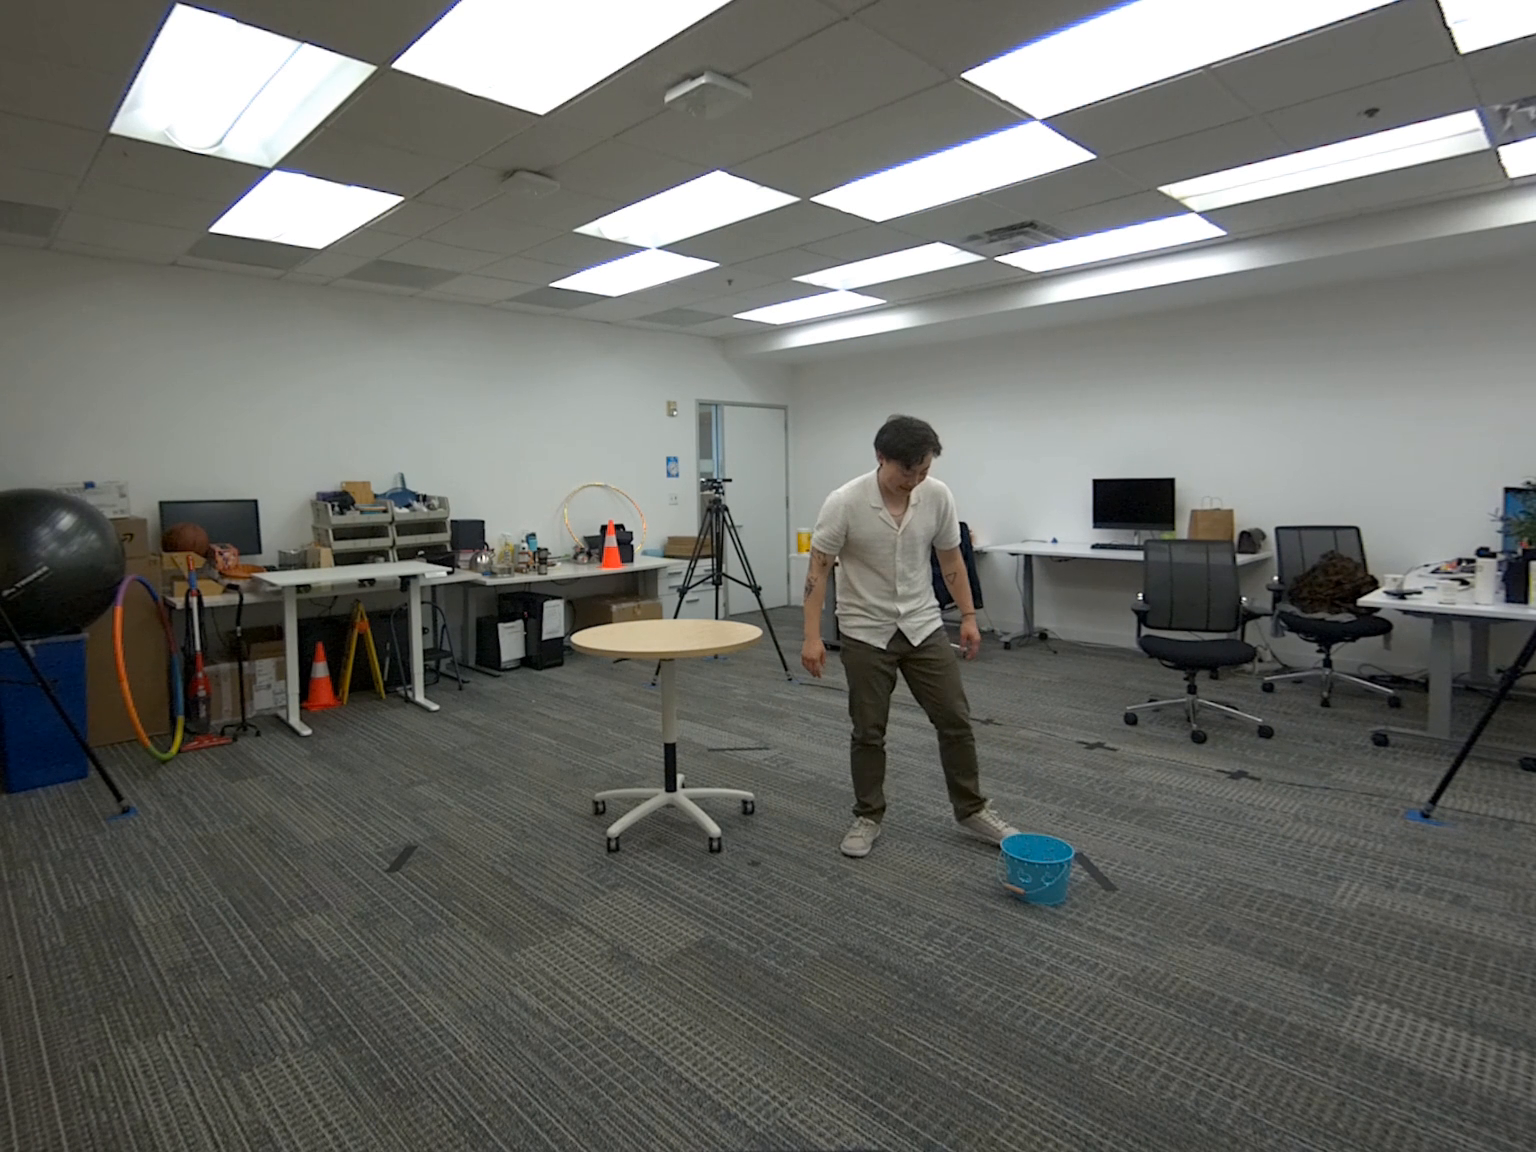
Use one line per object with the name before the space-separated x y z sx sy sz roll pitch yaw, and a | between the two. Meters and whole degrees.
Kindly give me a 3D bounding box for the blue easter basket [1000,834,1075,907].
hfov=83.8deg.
blue easter basket | 0.899 0.982 2.859 0.243 0.155 0.245 -2 5 -2
